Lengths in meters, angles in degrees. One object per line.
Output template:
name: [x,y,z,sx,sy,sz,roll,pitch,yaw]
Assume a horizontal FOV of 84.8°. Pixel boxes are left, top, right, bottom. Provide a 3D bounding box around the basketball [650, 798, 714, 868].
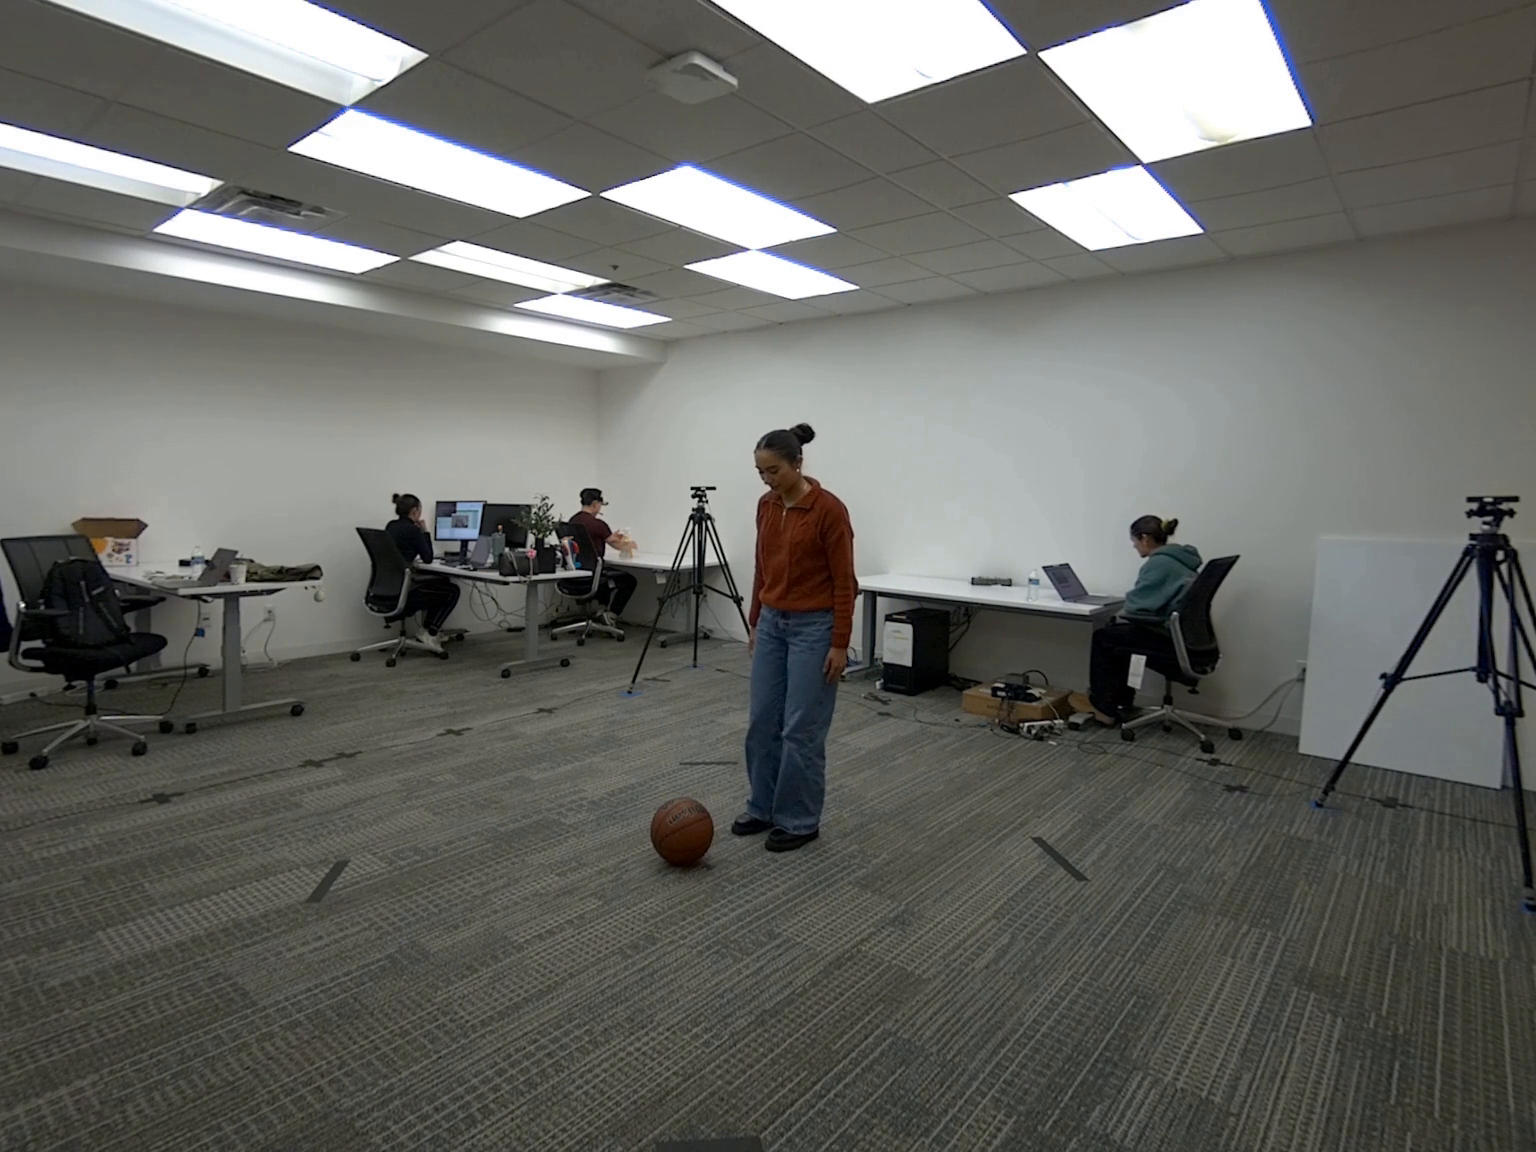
basketball: [-0.324,0.939,3.154,0.235,0.235,0.237,1,4,-2]
